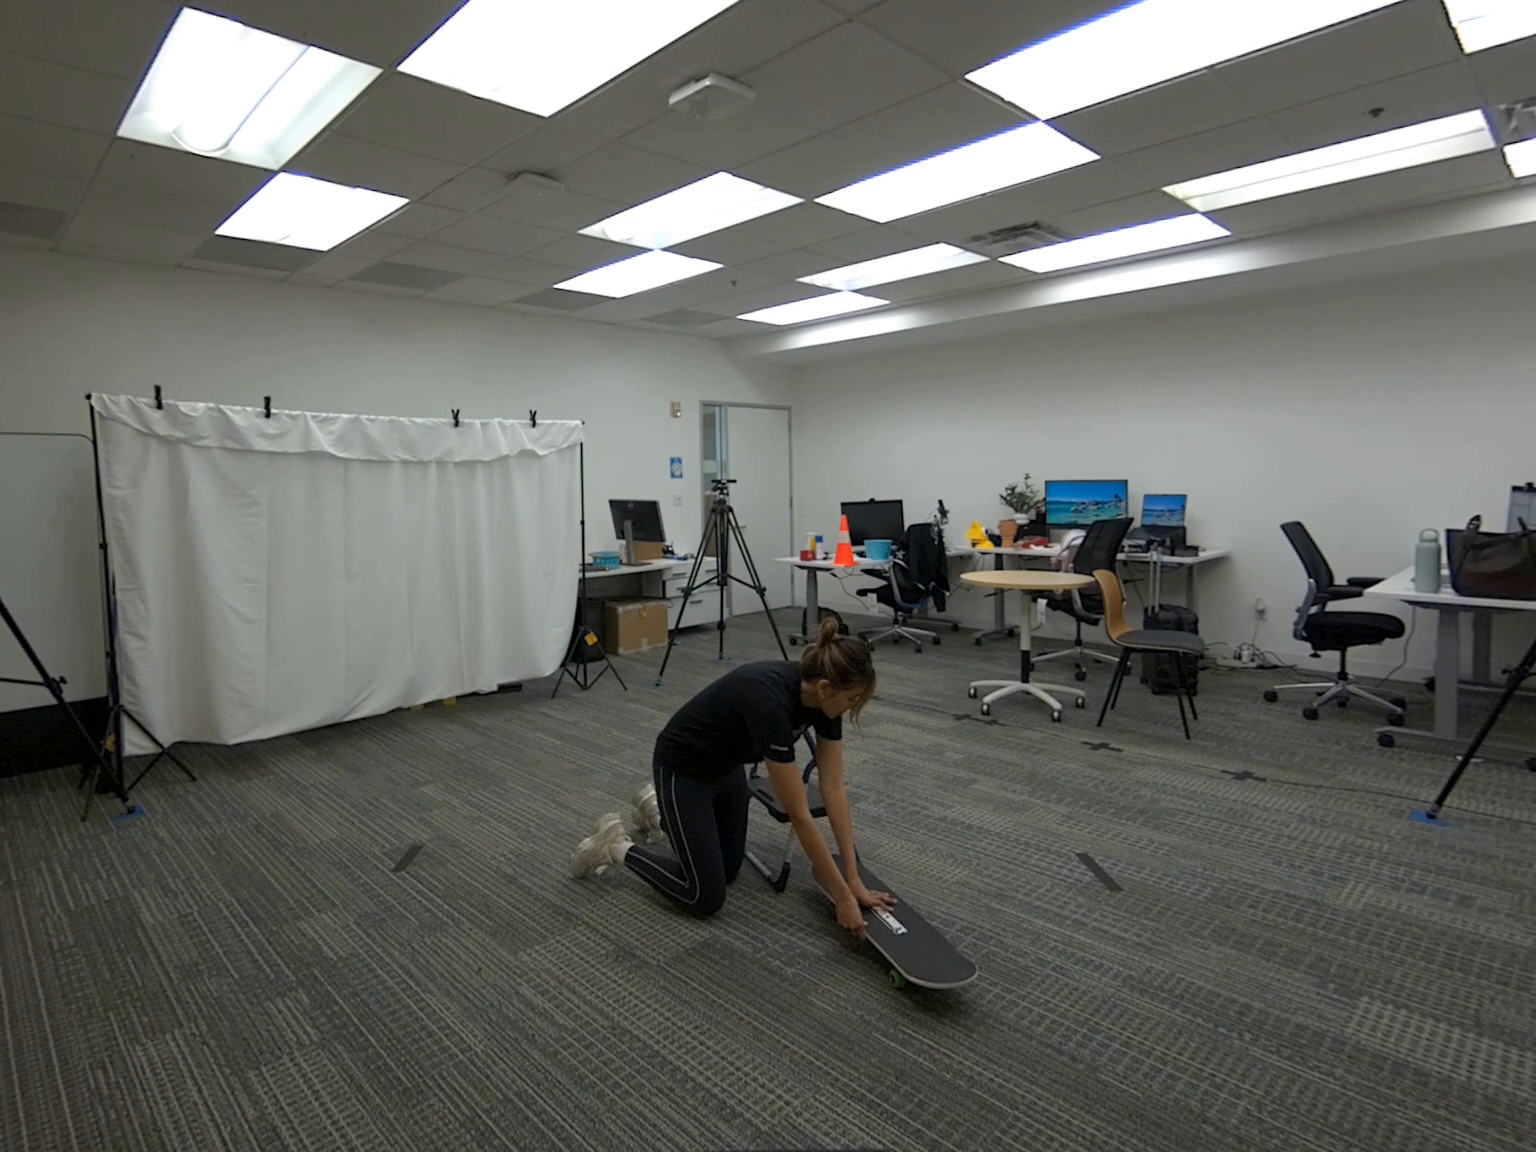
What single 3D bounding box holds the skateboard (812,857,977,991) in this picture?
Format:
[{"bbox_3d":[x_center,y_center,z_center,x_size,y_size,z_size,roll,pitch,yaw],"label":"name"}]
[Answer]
[{"bbox_3d":[0.361,1.054,2.543,0.190,0.110,0.802,-7,7,-19],"label":"skateboard"}]
